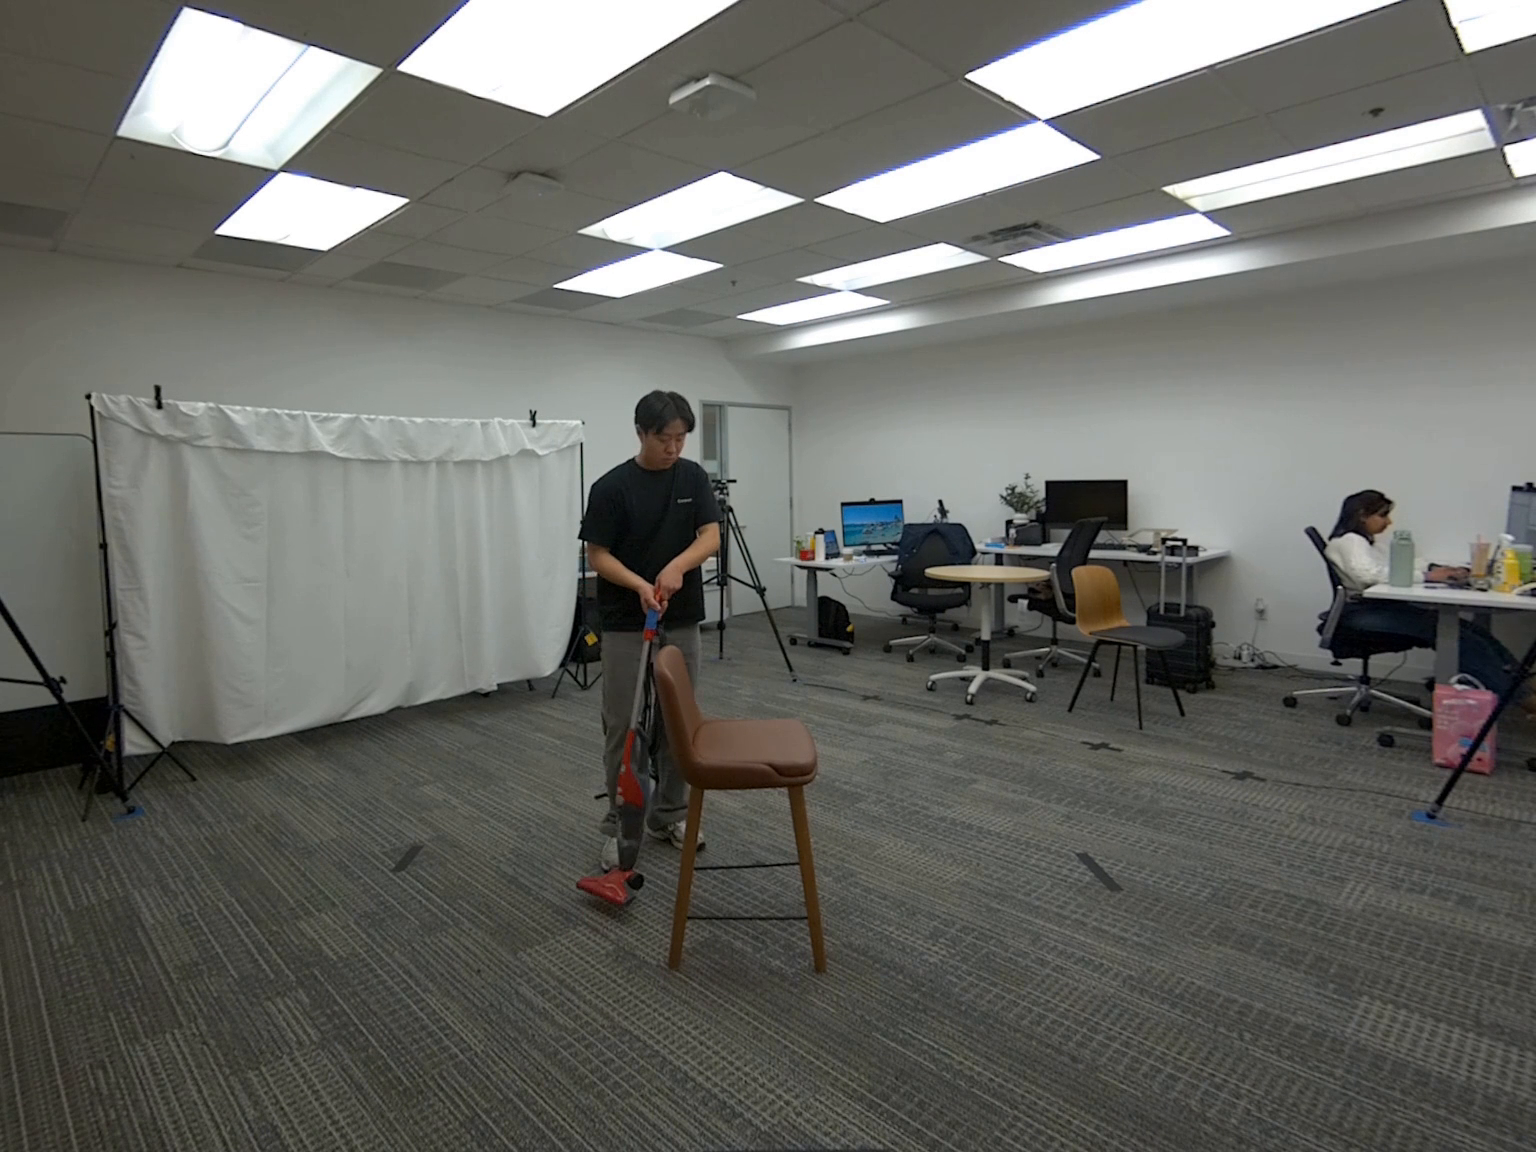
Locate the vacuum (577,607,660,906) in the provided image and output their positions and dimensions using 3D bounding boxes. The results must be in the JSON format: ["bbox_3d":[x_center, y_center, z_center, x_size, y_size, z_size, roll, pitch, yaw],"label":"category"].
[{"bbox_3d":[-0.437,0.538,2.928,0.259,1.058,0.139,-3,-15,42],"label":"vacuum"}]
